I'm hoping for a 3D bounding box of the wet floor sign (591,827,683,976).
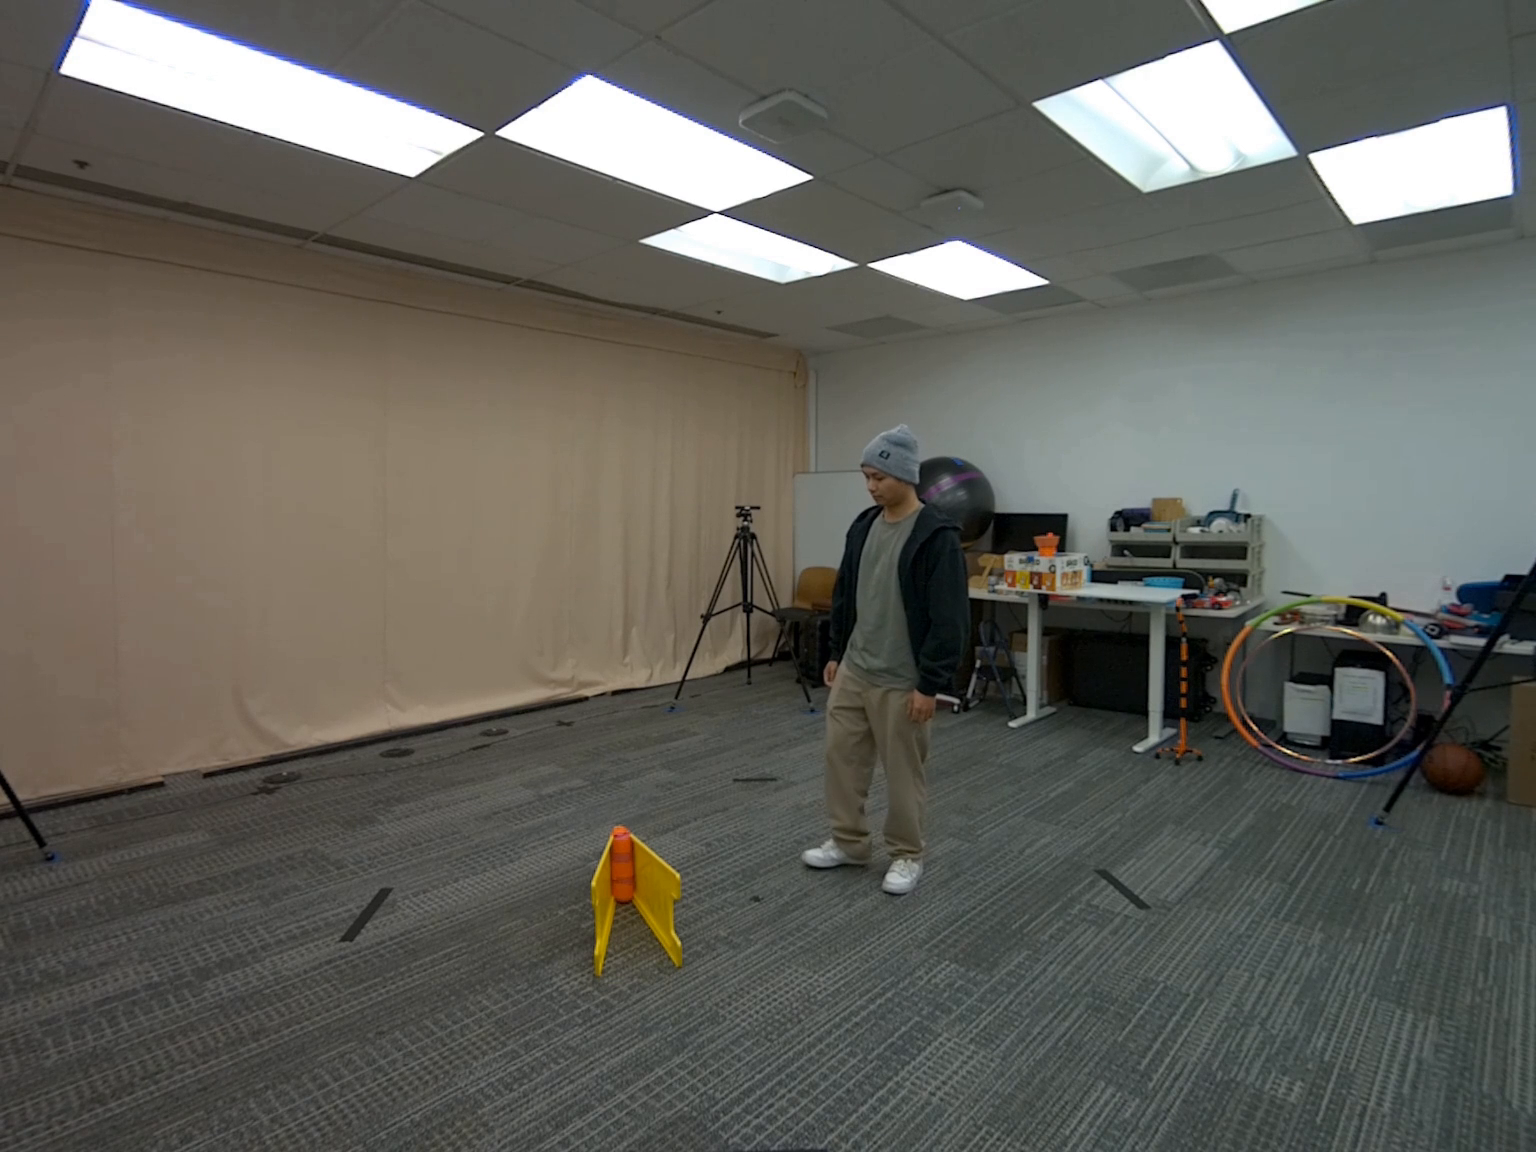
[{"bbox_3d":[-0.476,1.035,2.822,0.286,0.282,0.655,-1,1,-14],"label":"wet floor sign"}]
